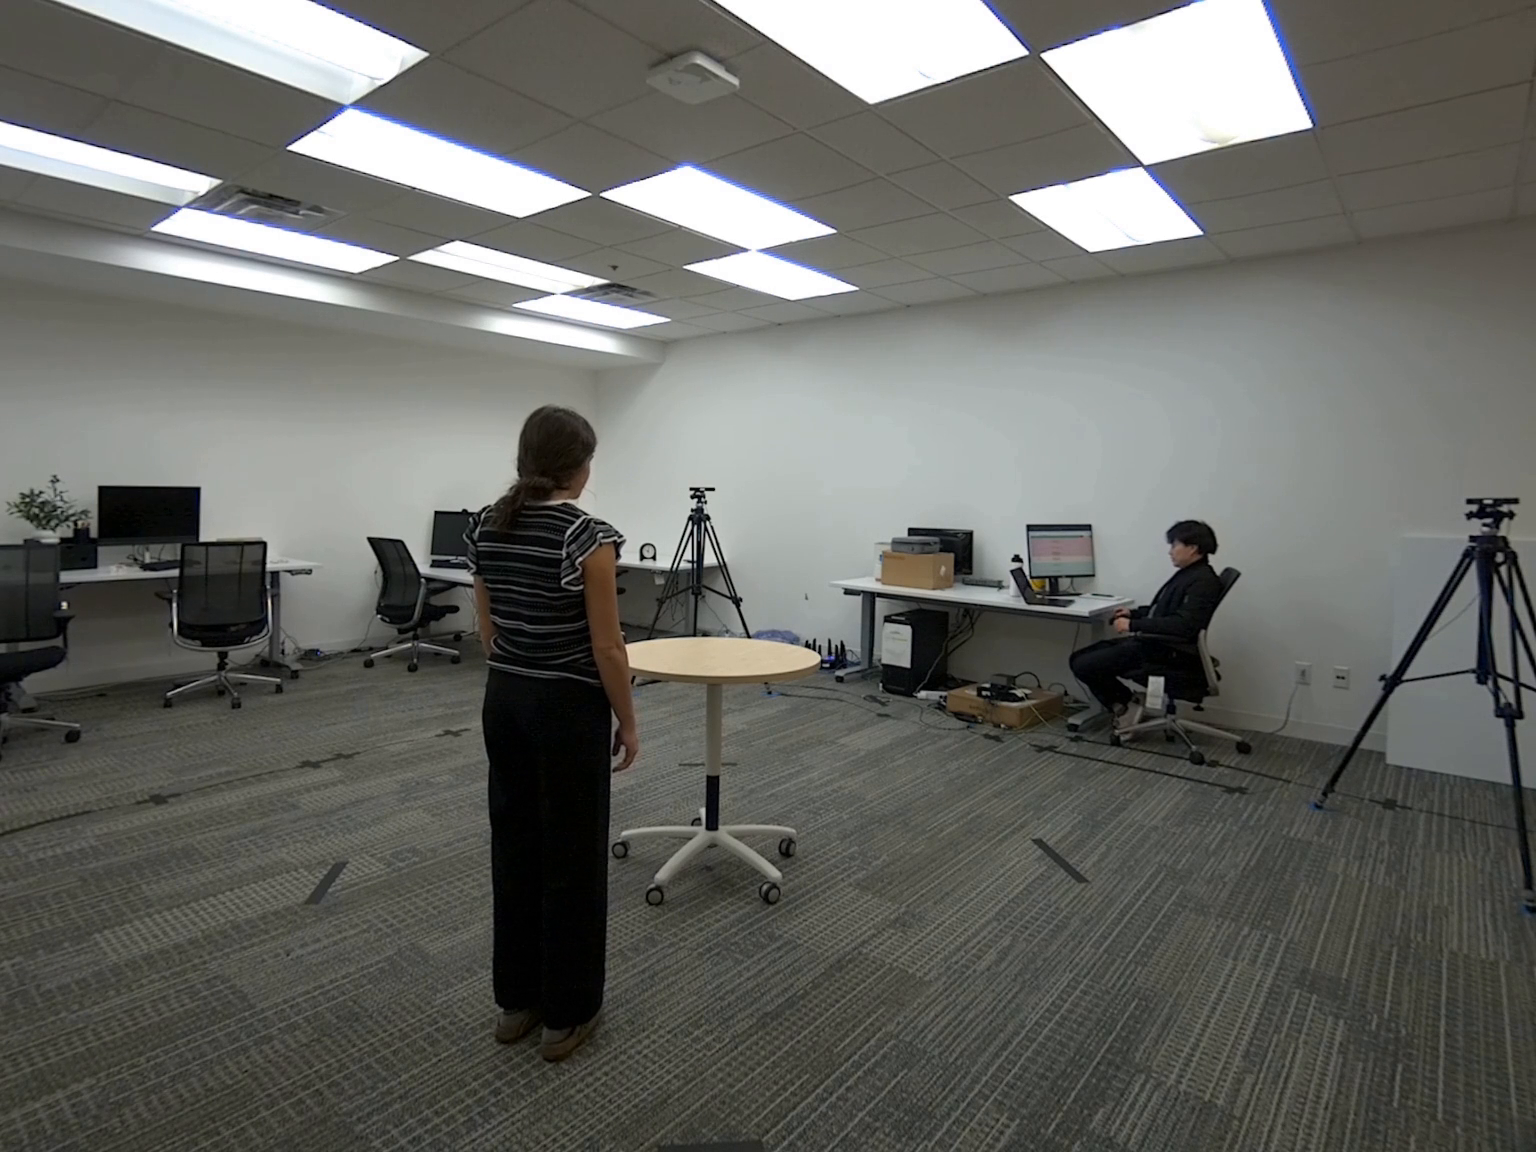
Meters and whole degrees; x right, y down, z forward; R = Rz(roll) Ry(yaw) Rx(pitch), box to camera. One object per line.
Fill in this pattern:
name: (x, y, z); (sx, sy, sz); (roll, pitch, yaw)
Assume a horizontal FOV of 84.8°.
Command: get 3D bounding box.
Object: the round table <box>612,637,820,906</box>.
round table: (-0.209, 0.676, 3.107); (0.763, 0.792, 0.767); (1, 4, -2)
